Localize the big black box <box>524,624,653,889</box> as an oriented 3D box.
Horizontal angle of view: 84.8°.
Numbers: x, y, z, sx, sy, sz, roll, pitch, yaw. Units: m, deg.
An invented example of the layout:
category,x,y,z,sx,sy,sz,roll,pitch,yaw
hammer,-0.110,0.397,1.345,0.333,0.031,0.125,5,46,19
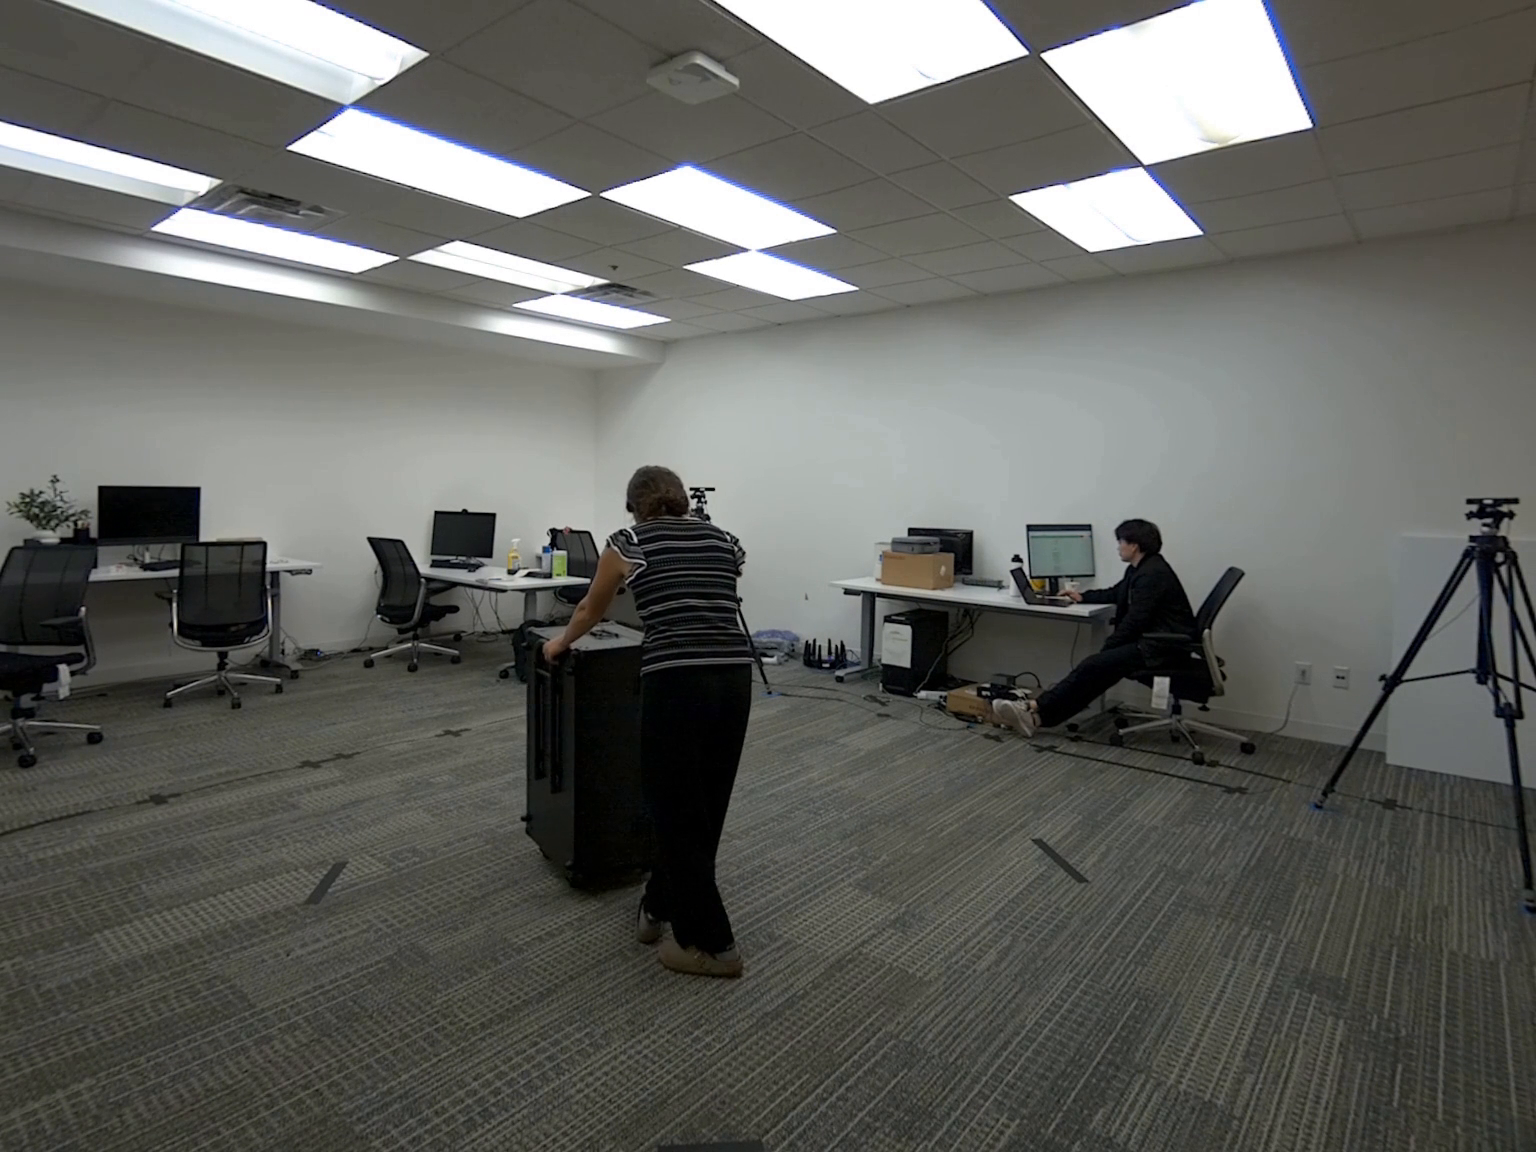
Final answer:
category,x,y,z,sx,sy,sz,roll,pitch,yaw
big black box,-0.647,0.641,3.078,0.385,0.858,0.538,-3,5,-33
